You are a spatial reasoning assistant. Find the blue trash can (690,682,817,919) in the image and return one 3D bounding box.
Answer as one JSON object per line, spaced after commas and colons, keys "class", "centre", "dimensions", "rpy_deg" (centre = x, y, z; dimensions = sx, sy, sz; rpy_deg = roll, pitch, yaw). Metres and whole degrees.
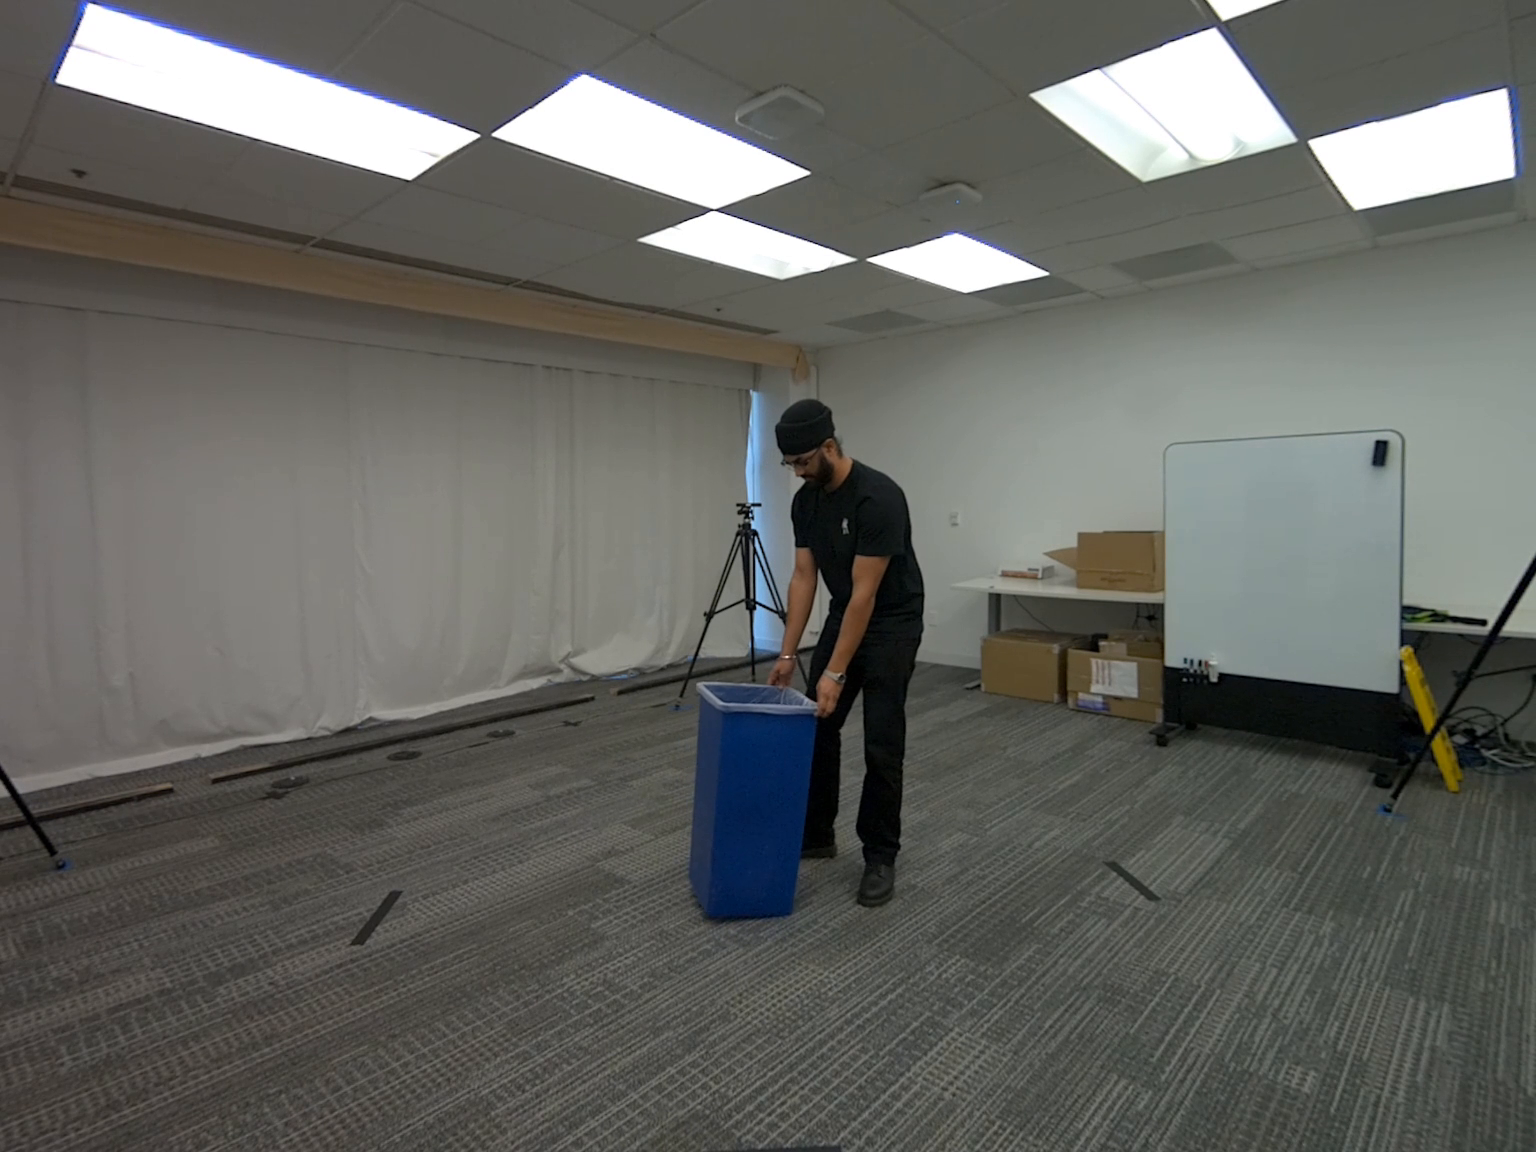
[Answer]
{"class": "blue trash can", "centre": [-0.062, 0.769, 2.952], "dimensions": [0.367, 0.713, 0.385], "rpy_deg": [4, 2, -18]}
